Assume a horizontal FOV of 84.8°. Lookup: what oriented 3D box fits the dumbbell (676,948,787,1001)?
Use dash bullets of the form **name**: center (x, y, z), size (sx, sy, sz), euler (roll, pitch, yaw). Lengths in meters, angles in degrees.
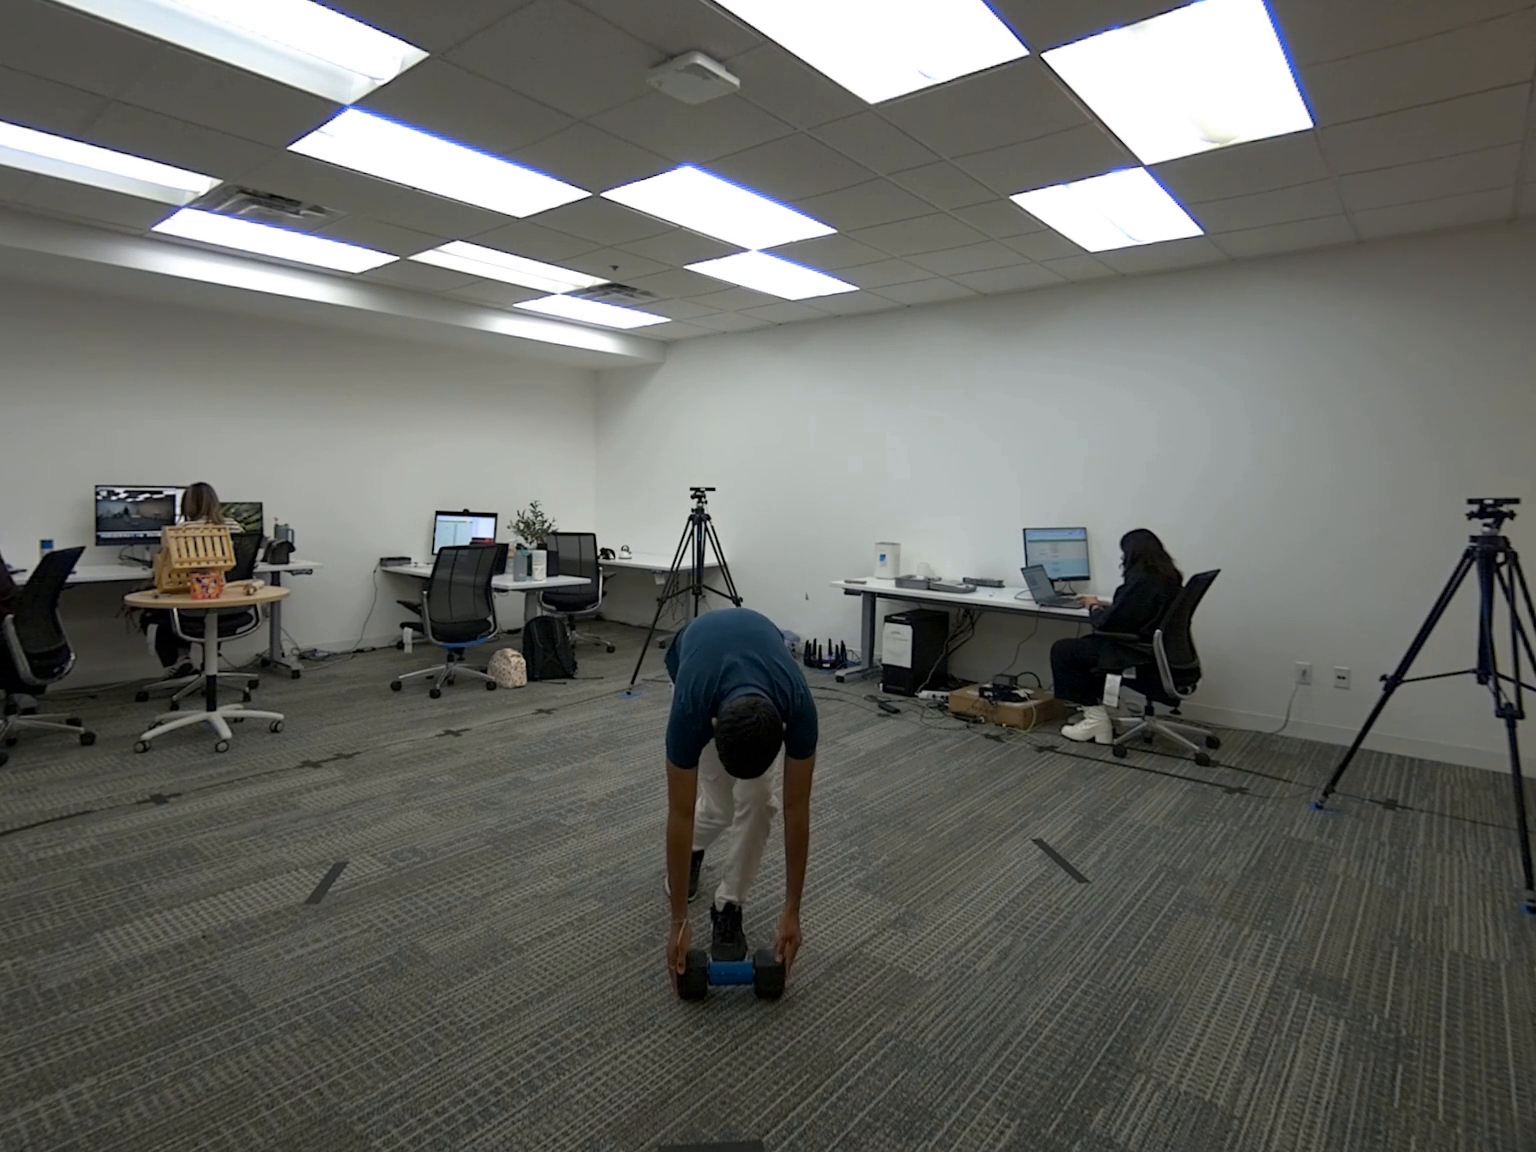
- **dumbbell**: center (-0.106, 1.101, 2.358), size (0.293, 0.125, 0.107), euler (-1, -15, -3)
